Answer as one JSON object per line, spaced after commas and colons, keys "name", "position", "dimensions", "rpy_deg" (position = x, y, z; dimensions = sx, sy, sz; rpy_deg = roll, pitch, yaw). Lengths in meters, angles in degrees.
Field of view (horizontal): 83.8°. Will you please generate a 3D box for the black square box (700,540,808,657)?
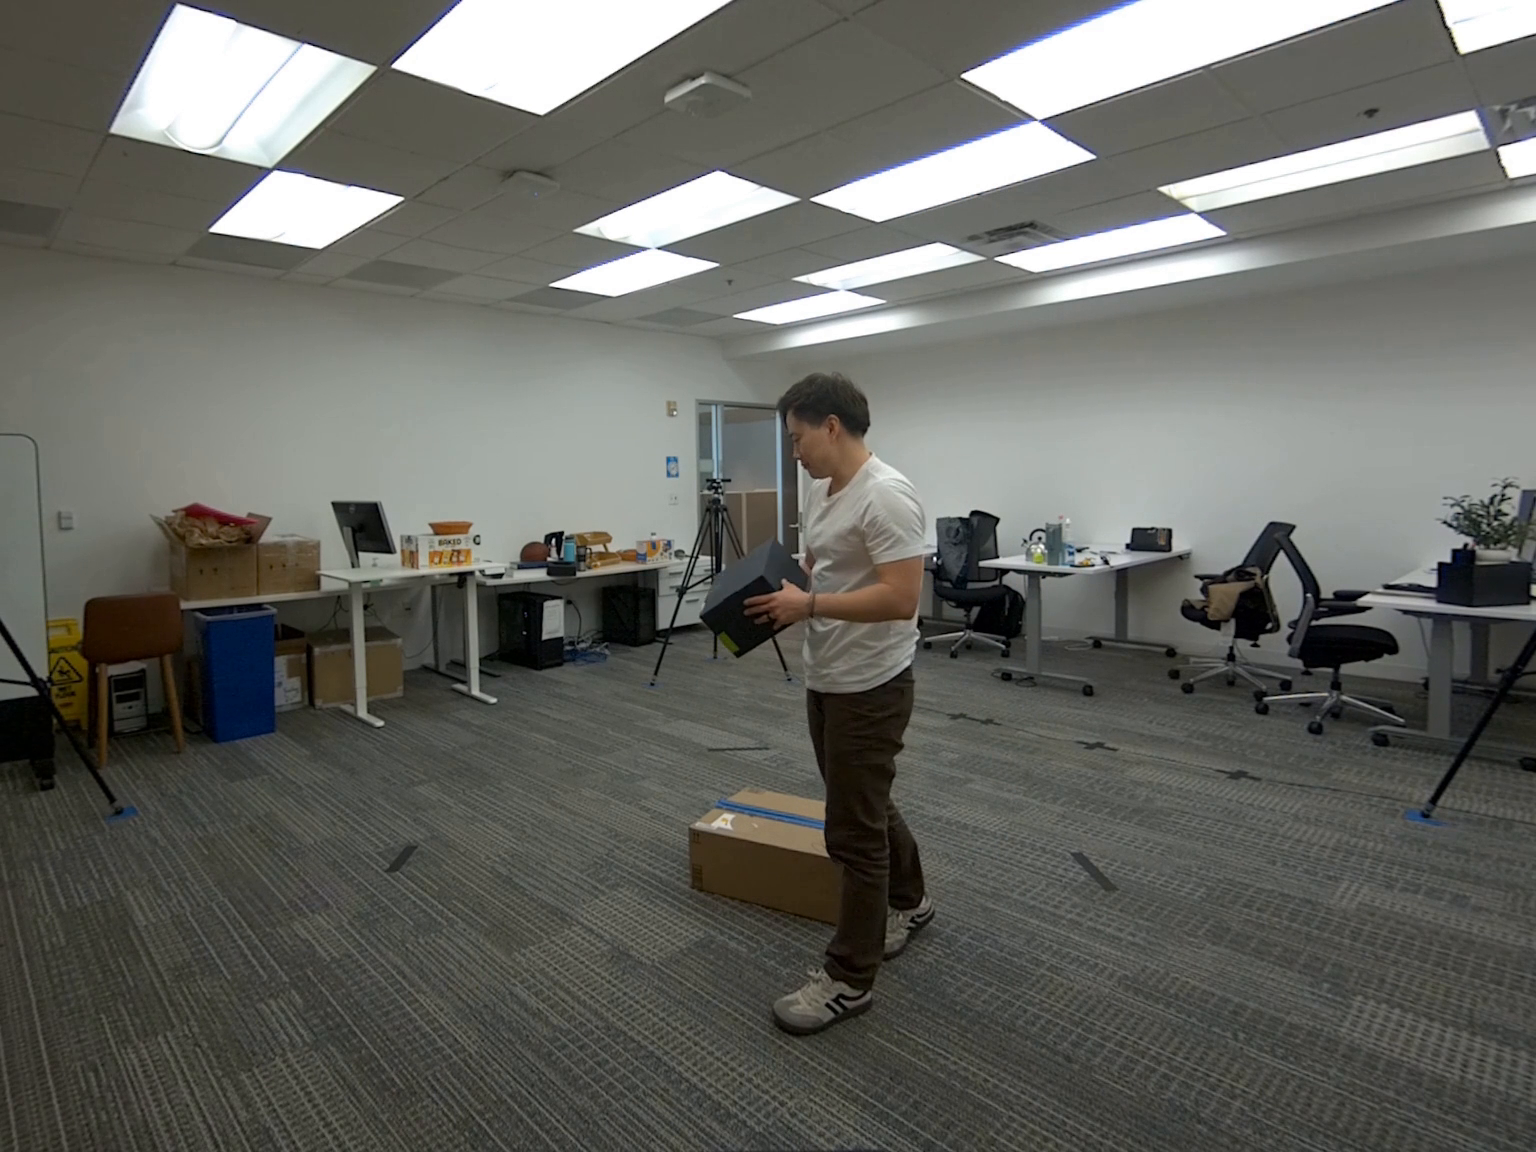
{"name": "black square box", "position": [-0.023, 0.050, 2.251], "dimensions": [0.218, 0.153, 0.231], "rpy_deg": [-35, 16, 22]}
